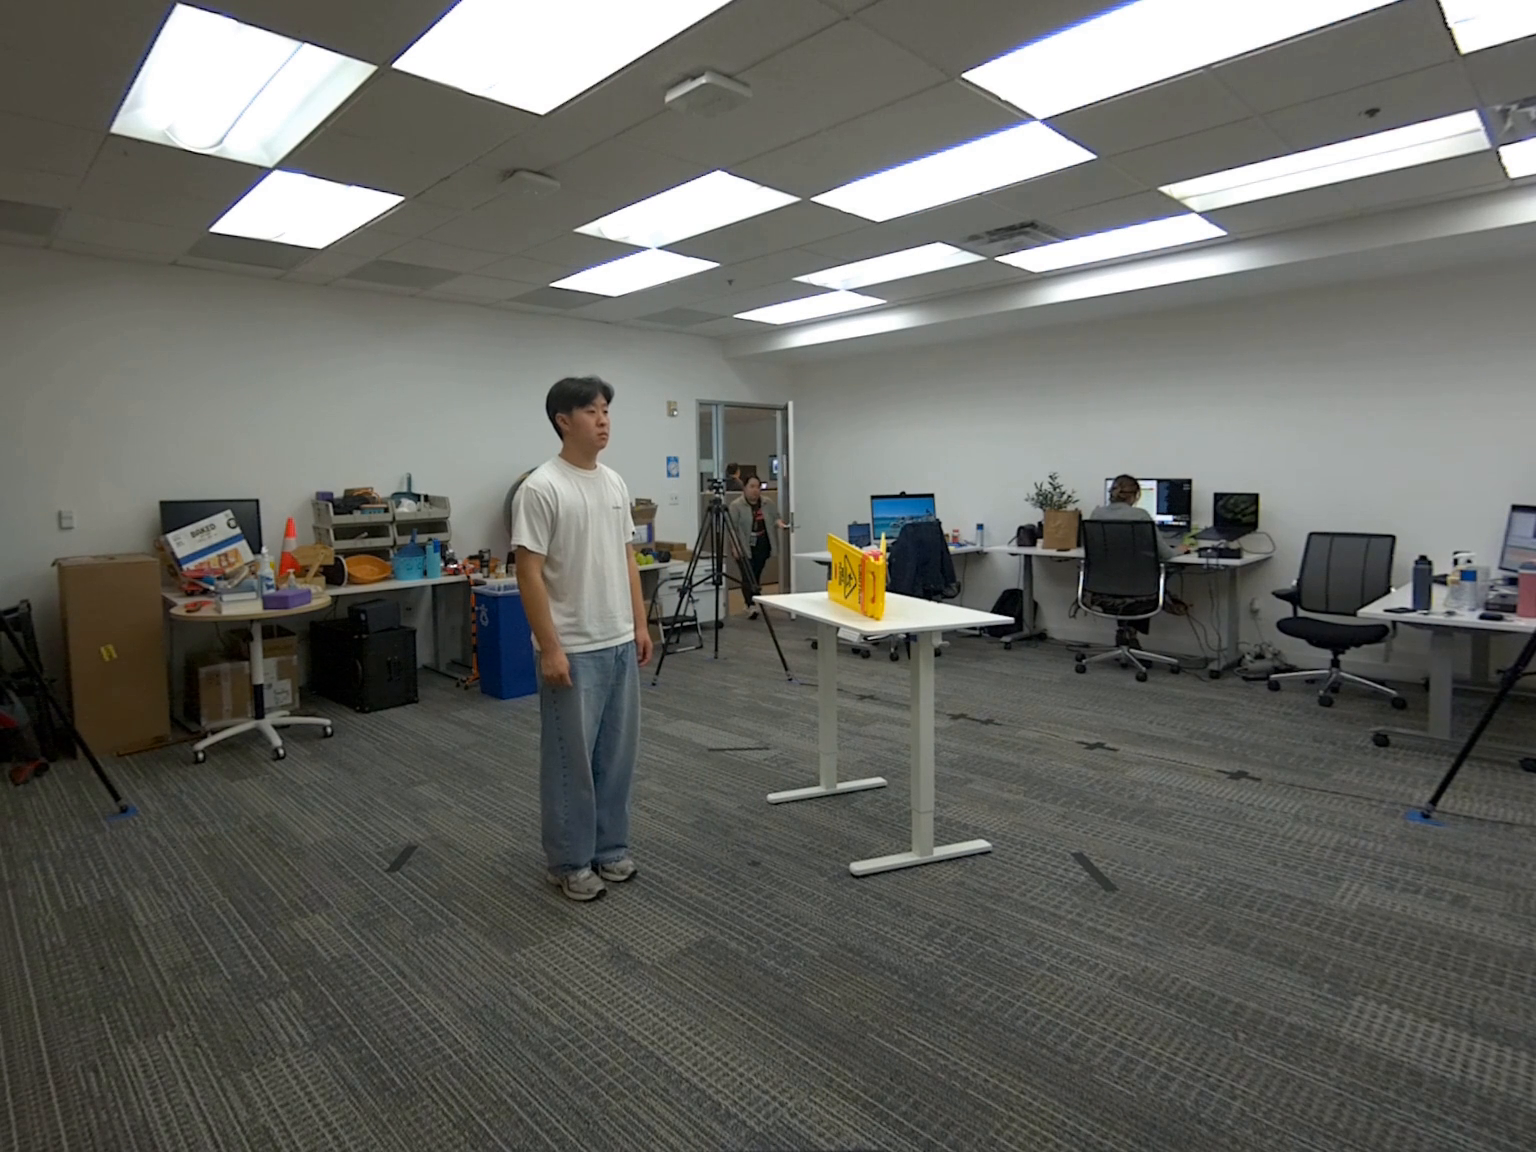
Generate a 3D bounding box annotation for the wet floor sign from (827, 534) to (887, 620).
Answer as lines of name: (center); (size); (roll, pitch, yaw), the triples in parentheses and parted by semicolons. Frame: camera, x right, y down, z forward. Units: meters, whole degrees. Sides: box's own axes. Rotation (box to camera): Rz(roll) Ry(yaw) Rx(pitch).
wet floor sign: (0.391, 0.004, 3.330); (0.290, 0.280, 0.650); (-2, 8, 0)
